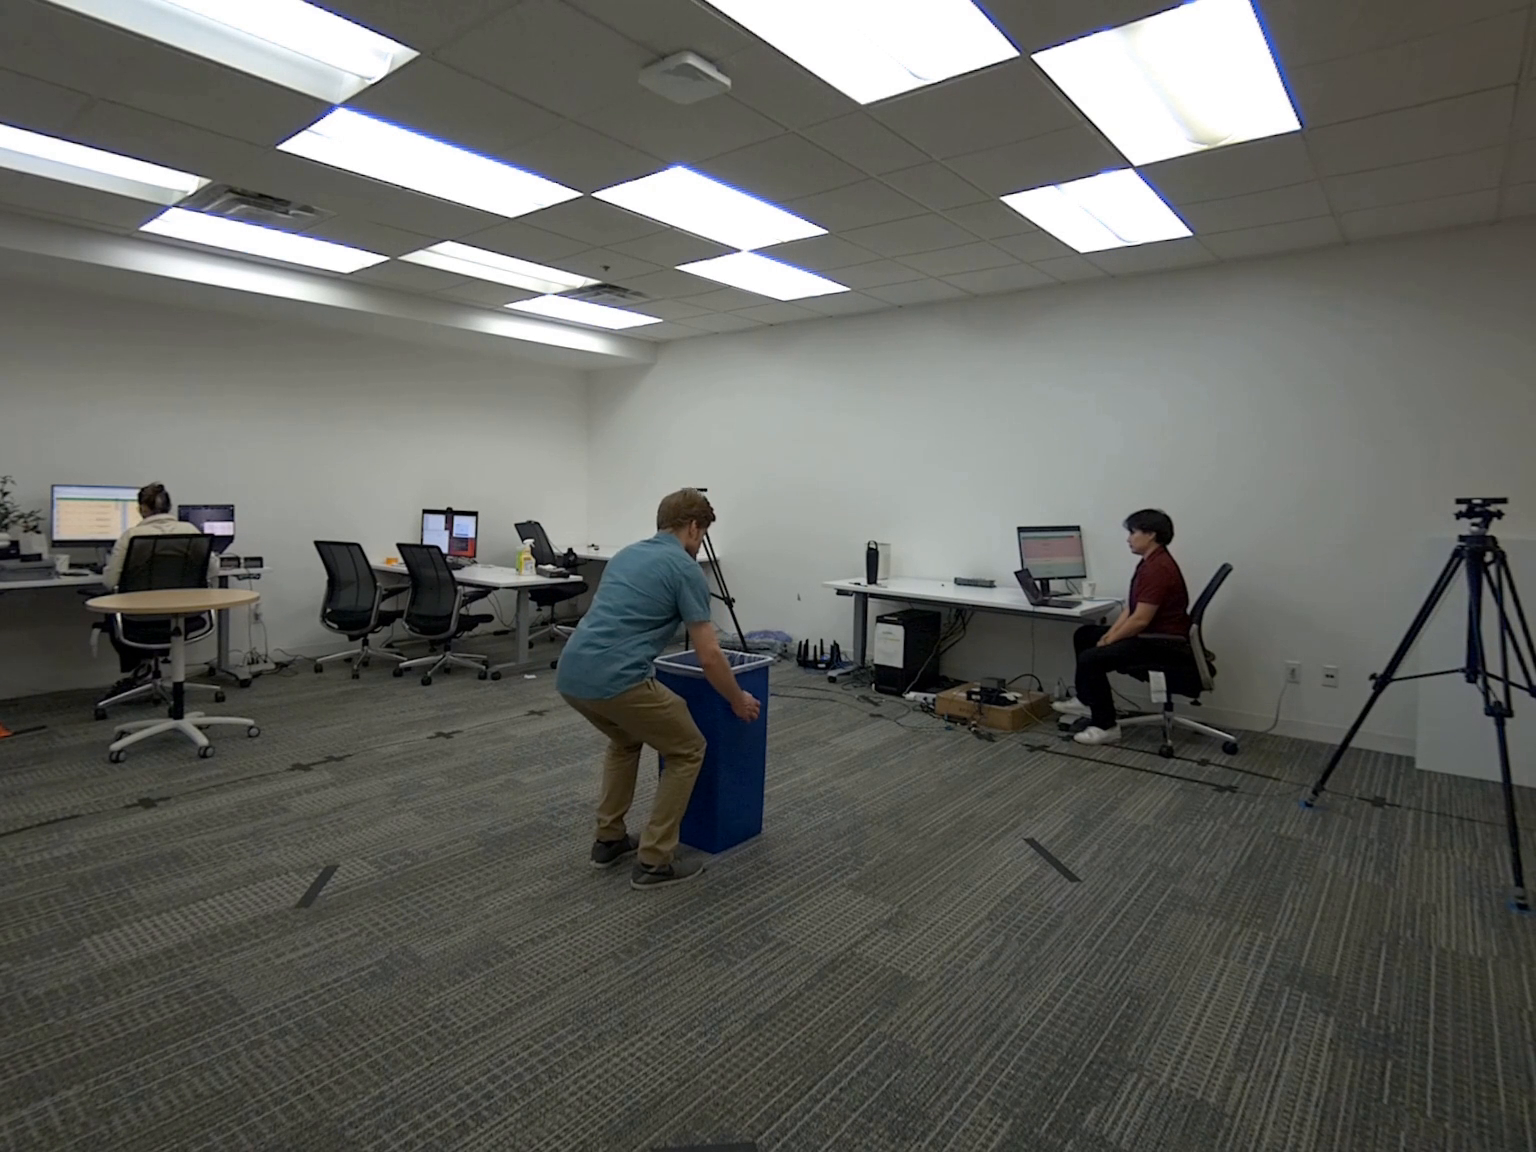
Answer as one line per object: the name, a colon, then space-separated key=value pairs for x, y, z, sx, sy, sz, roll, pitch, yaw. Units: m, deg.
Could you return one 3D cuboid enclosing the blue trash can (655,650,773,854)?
blue trash can: x=-0.226 y=0.685 z=3.427 sx=0.386 sy=0.712 sz=0.367 roll=2 pitch=3 yaw=38
